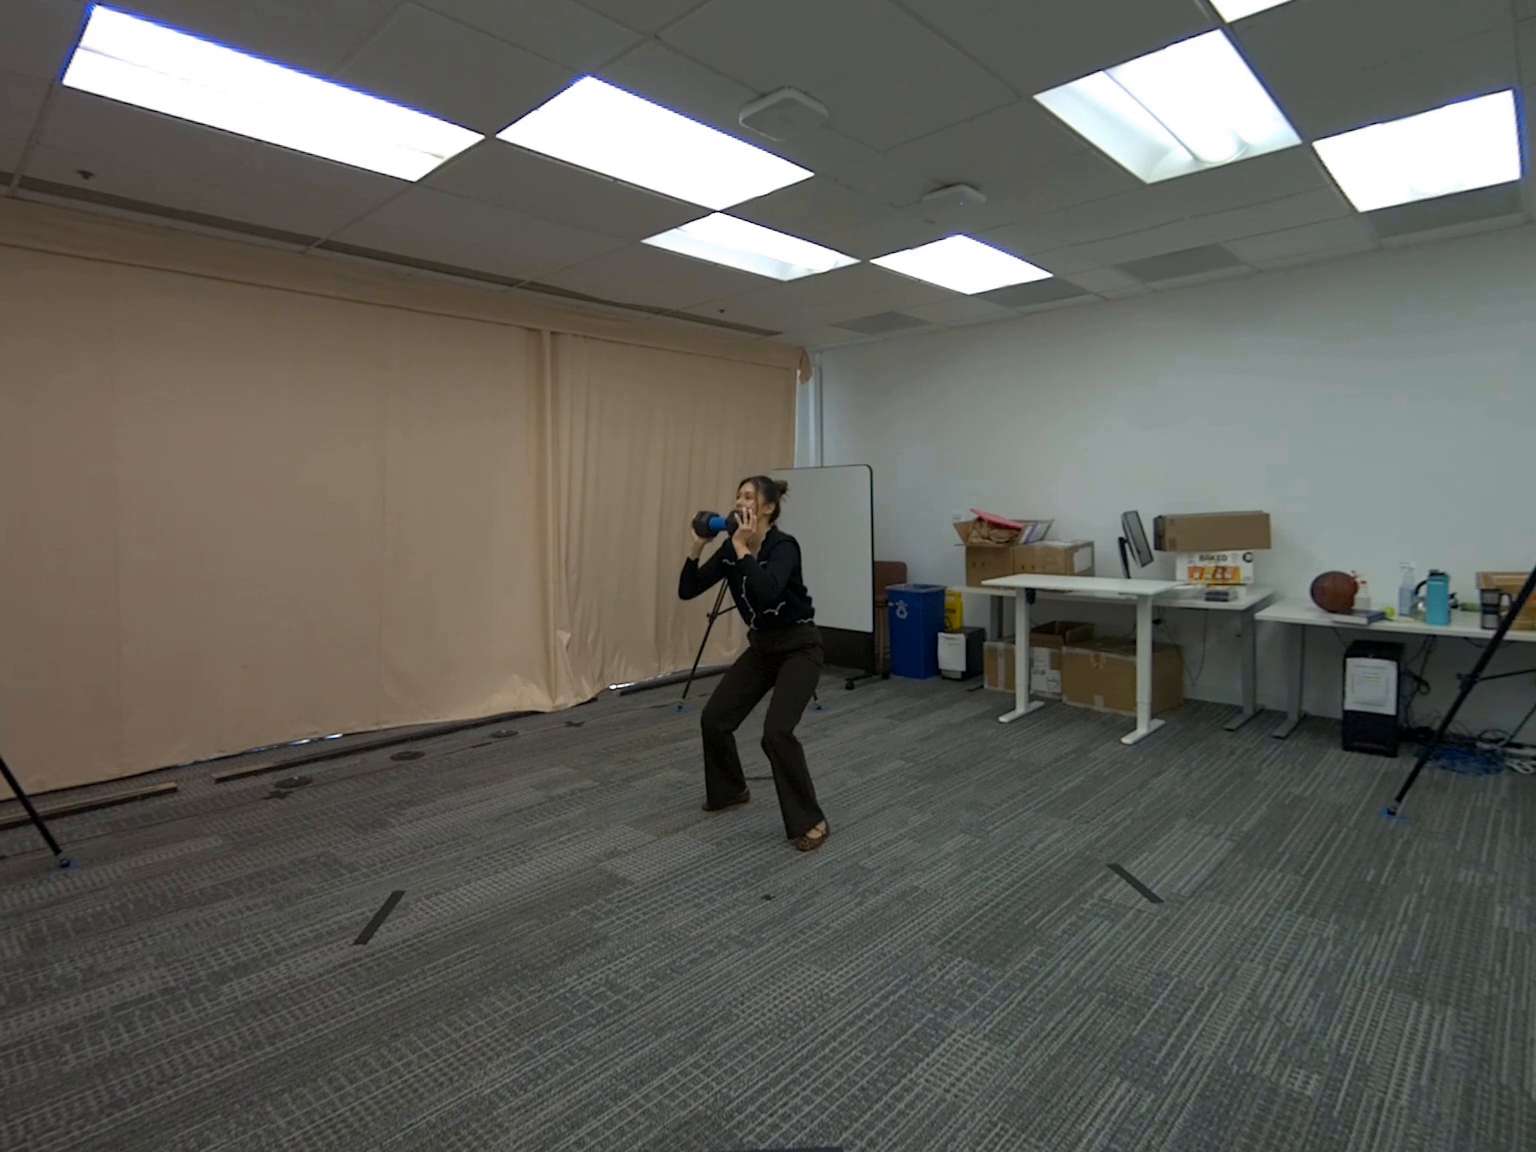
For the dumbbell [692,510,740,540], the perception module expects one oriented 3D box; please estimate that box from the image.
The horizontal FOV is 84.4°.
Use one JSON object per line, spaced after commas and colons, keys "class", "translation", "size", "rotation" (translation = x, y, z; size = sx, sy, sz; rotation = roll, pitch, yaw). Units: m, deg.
{"class": "dumbbell", "translation": [-0.182, -0.217, 3.548], "size": [0.303, 0.122, 0.105], "rotation": [4, -38, 49]}
